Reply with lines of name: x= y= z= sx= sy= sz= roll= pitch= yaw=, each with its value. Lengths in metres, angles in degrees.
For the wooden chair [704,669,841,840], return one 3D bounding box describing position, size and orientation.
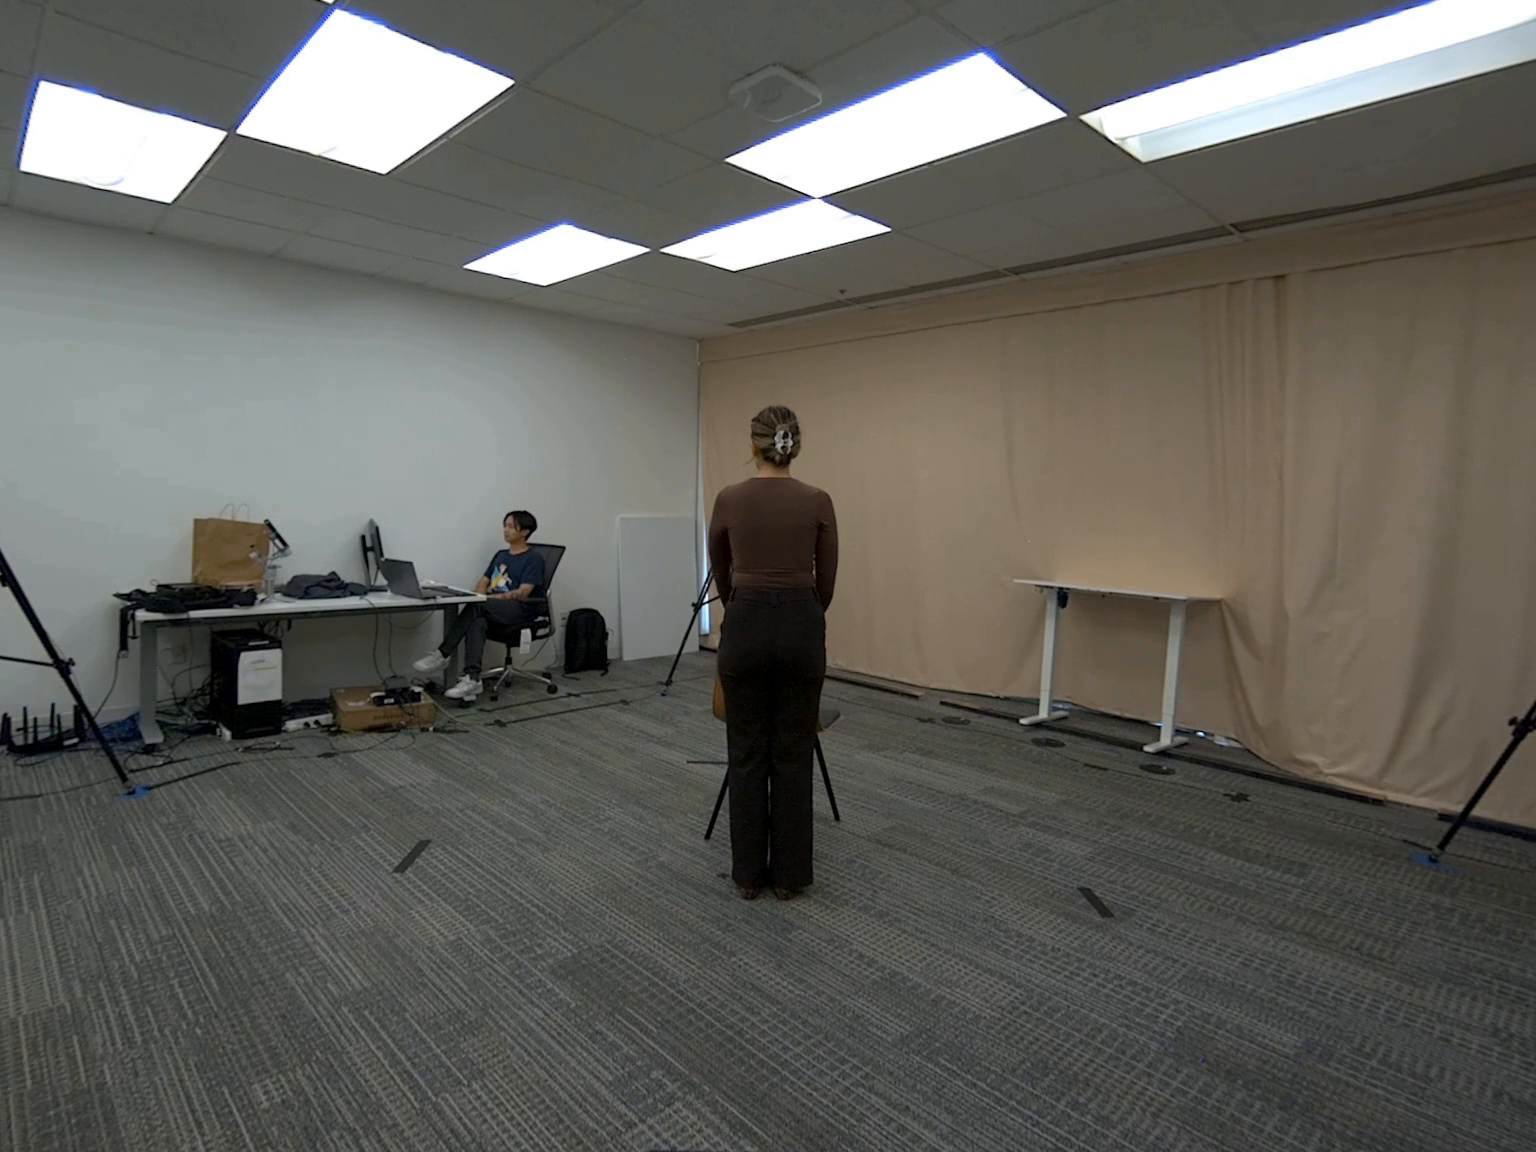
wooden chair: x=0.031 y=0.648 z=3.531 sx=0.486 sy=0.873 sz=0.517 roll=2 pitch=7 yaw=20
